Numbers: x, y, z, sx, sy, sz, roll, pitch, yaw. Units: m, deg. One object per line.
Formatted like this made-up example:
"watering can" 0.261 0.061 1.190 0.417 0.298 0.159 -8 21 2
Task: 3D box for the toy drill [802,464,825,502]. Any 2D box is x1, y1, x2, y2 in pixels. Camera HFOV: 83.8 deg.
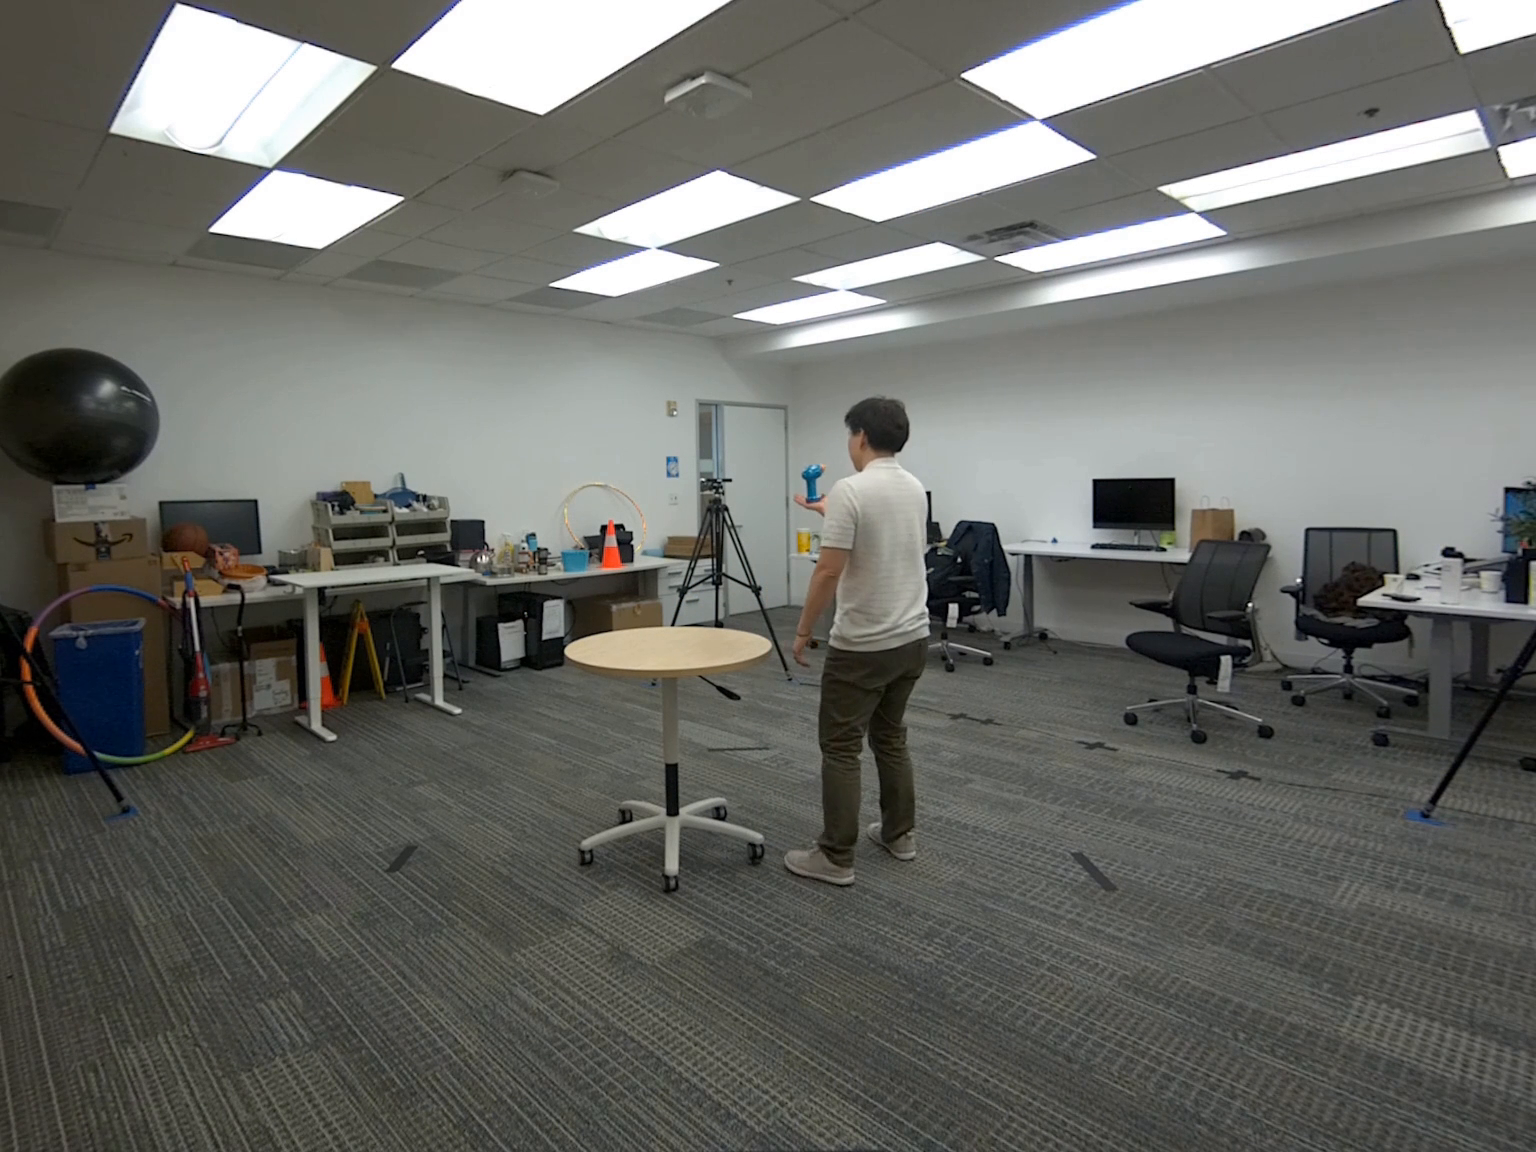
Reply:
"toy drill" 0.193 -0.378 3.393 0.063 0.144 0.168 1 20 34
